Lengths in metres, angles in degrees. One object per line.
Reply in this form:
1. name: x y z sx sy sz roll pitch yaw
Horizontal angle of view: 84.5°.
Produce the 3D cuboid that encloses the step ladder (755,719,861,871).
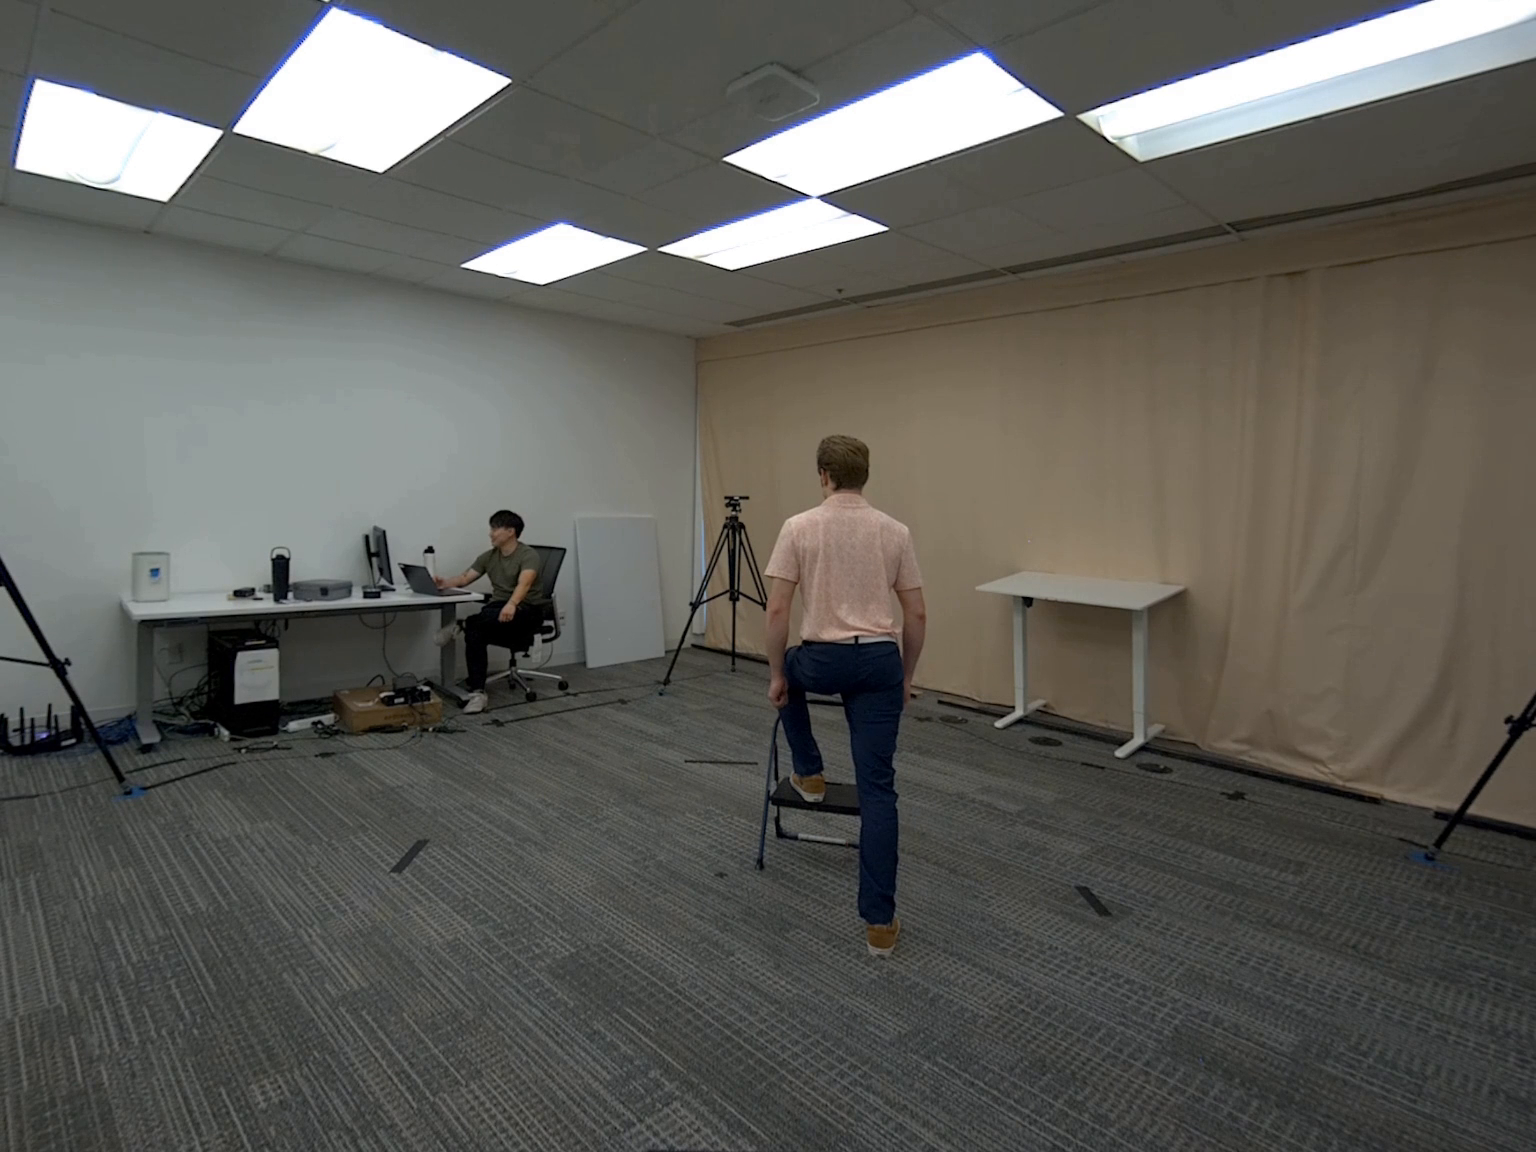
1. step ladder: 0.199 0.796 3.252 0.436 0.605 0.346 3 3 15
